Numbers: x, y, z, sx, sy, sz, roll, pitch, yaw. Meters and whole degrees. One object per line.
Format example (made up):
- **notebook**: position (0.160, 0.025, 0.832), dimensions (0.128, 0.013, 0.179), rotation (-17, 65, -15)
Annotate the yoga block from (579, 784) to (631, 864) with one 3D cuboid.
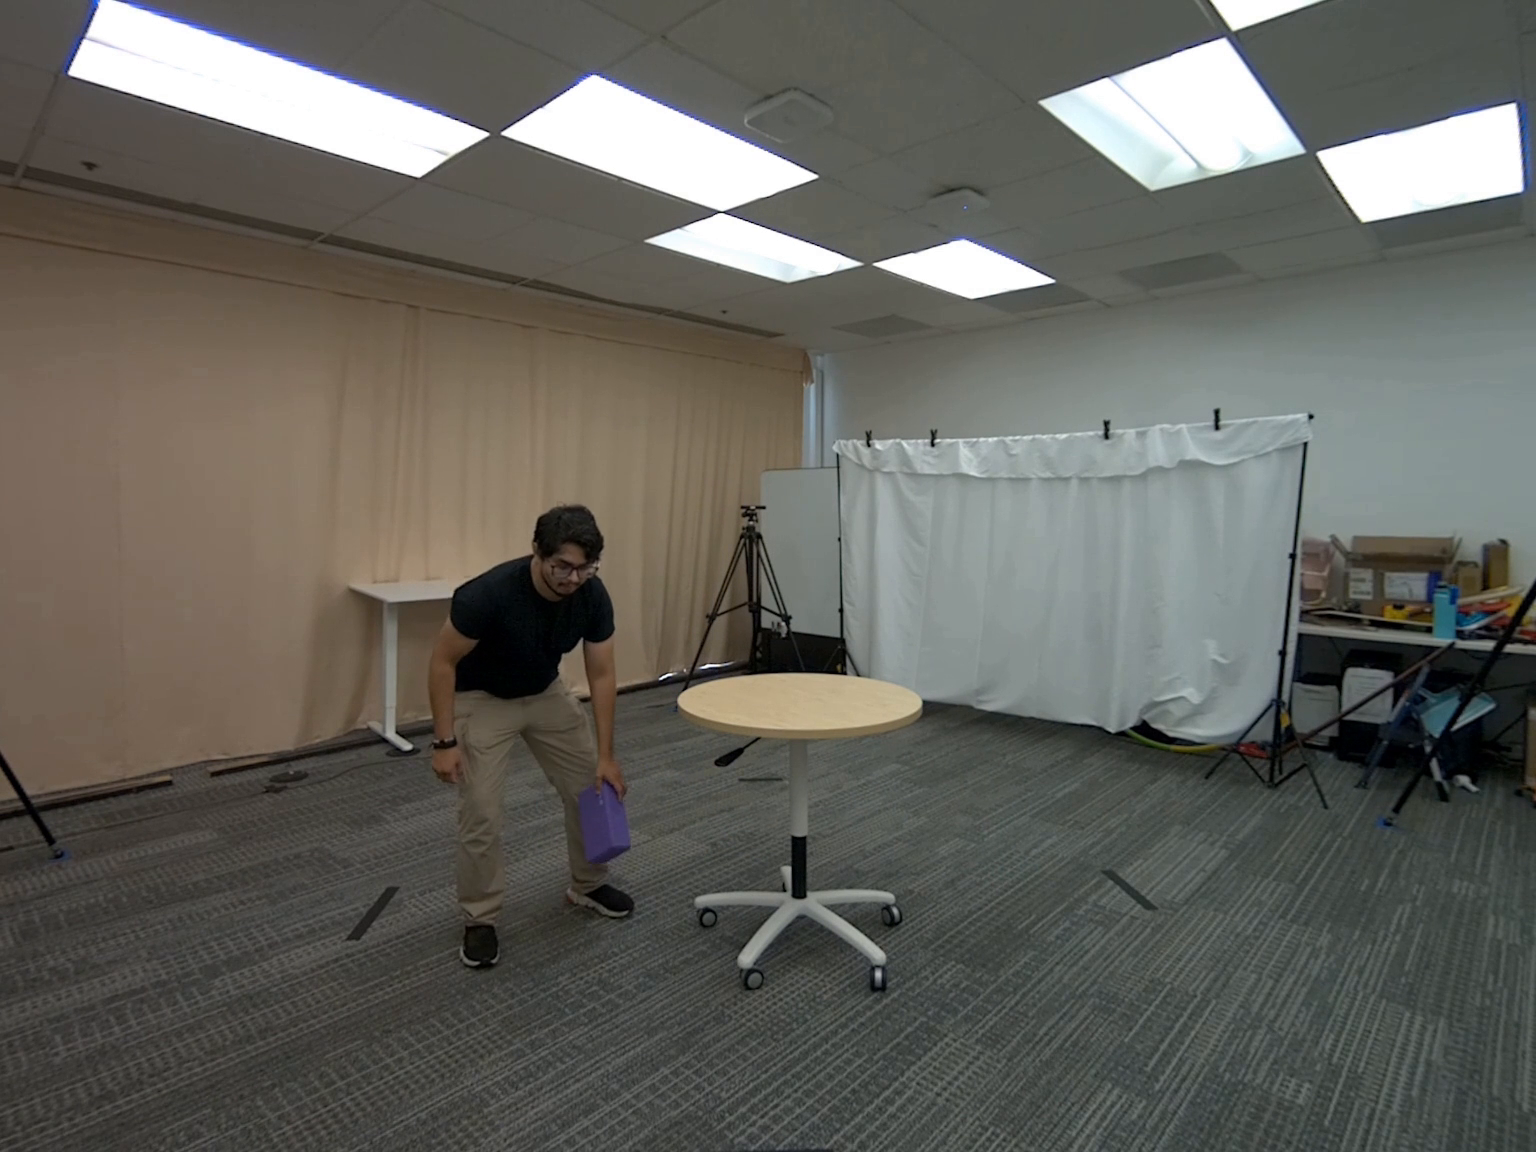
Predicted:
- **yoga block**: position (-0.518, 0.790, 2.670), dimensions (0.074, 0.235, 0.150), rotation (14, -46, -44)
